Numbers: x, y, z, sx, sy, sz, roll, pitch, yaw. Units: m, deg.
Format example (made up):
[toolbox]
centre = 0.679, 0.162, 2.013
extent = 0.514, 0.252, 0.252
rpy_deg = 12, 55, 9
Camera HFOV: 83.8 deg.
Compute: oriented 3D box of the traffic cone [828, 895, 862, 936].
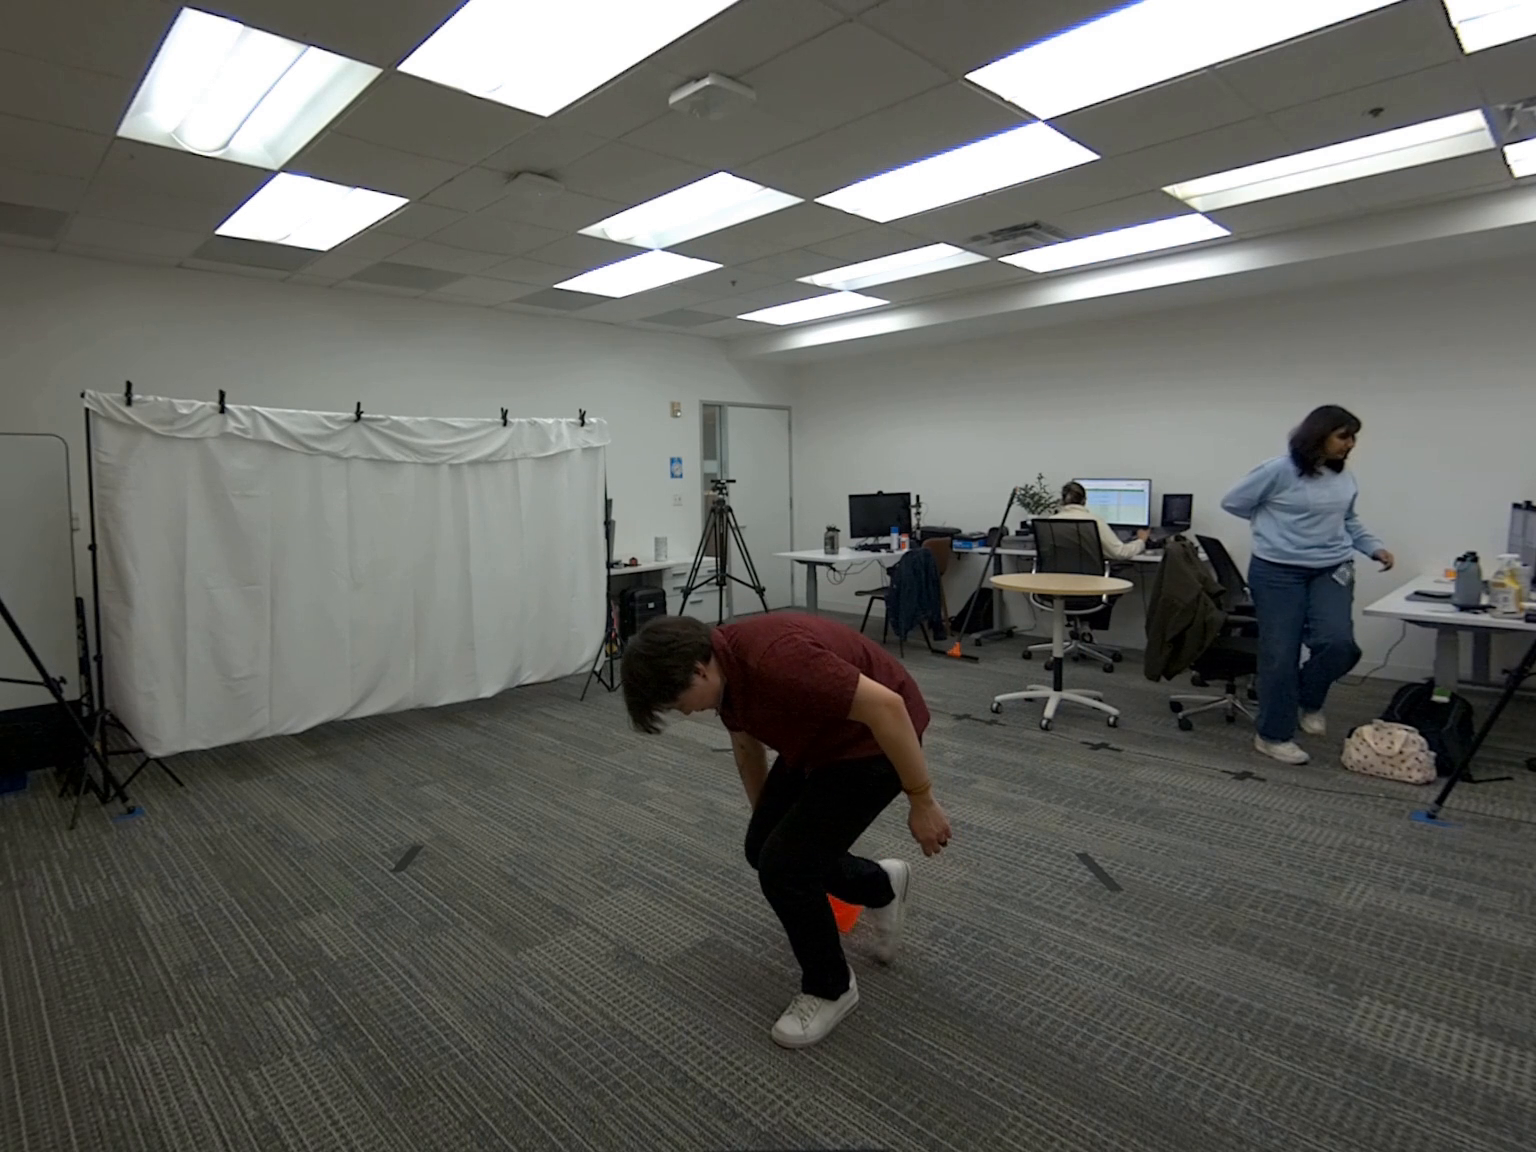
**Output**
[traffic cone]
centre = 0.148, 0.906, 2.626
extent = 0.212, 0.204, 0.369
rpy_deg = 13, -26, 50
